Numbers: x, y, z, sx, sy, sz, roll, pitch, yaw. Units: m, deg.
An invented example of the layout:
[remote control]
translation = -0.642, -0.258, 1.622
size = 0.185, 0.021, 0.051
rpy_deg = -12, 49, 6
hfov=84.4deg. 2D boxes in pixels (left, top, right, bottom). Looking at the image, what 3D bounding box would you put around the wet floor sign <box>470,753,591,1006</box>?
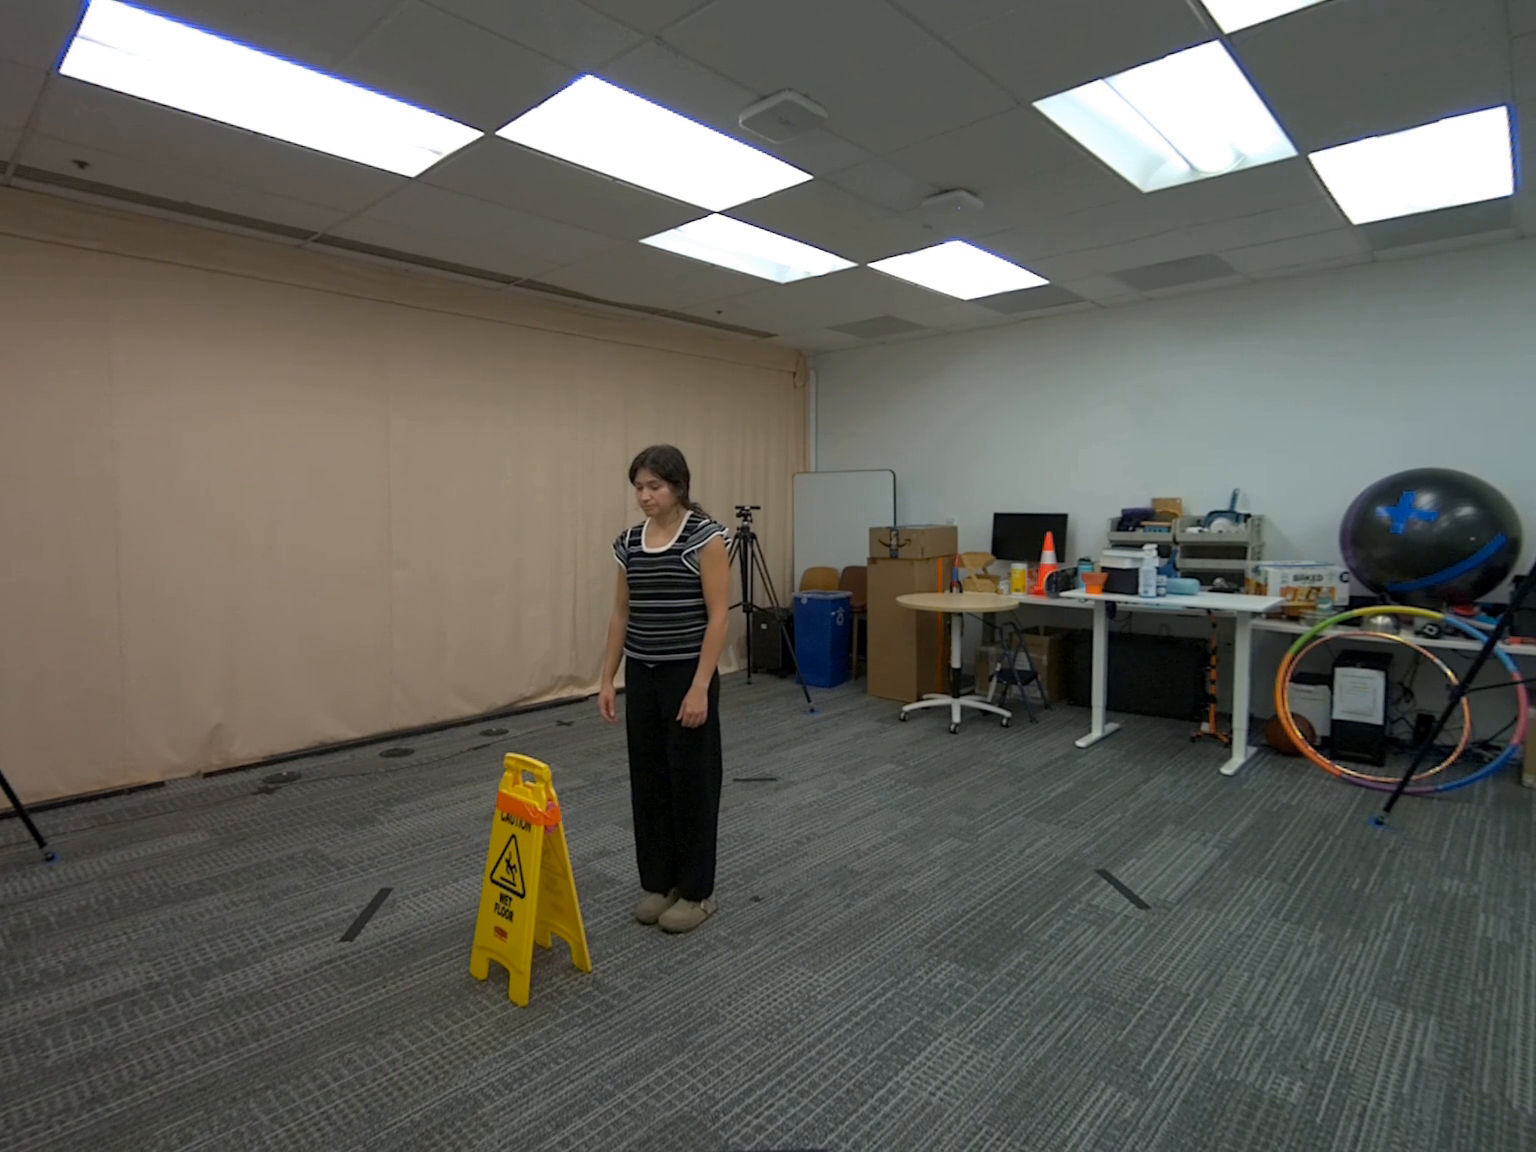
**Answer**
[wet floor sign]
translation = -0.716, 0.867, 2.502
size = 0.291, 0.645, 0.281
rpy_deg = 1, 4, 40
